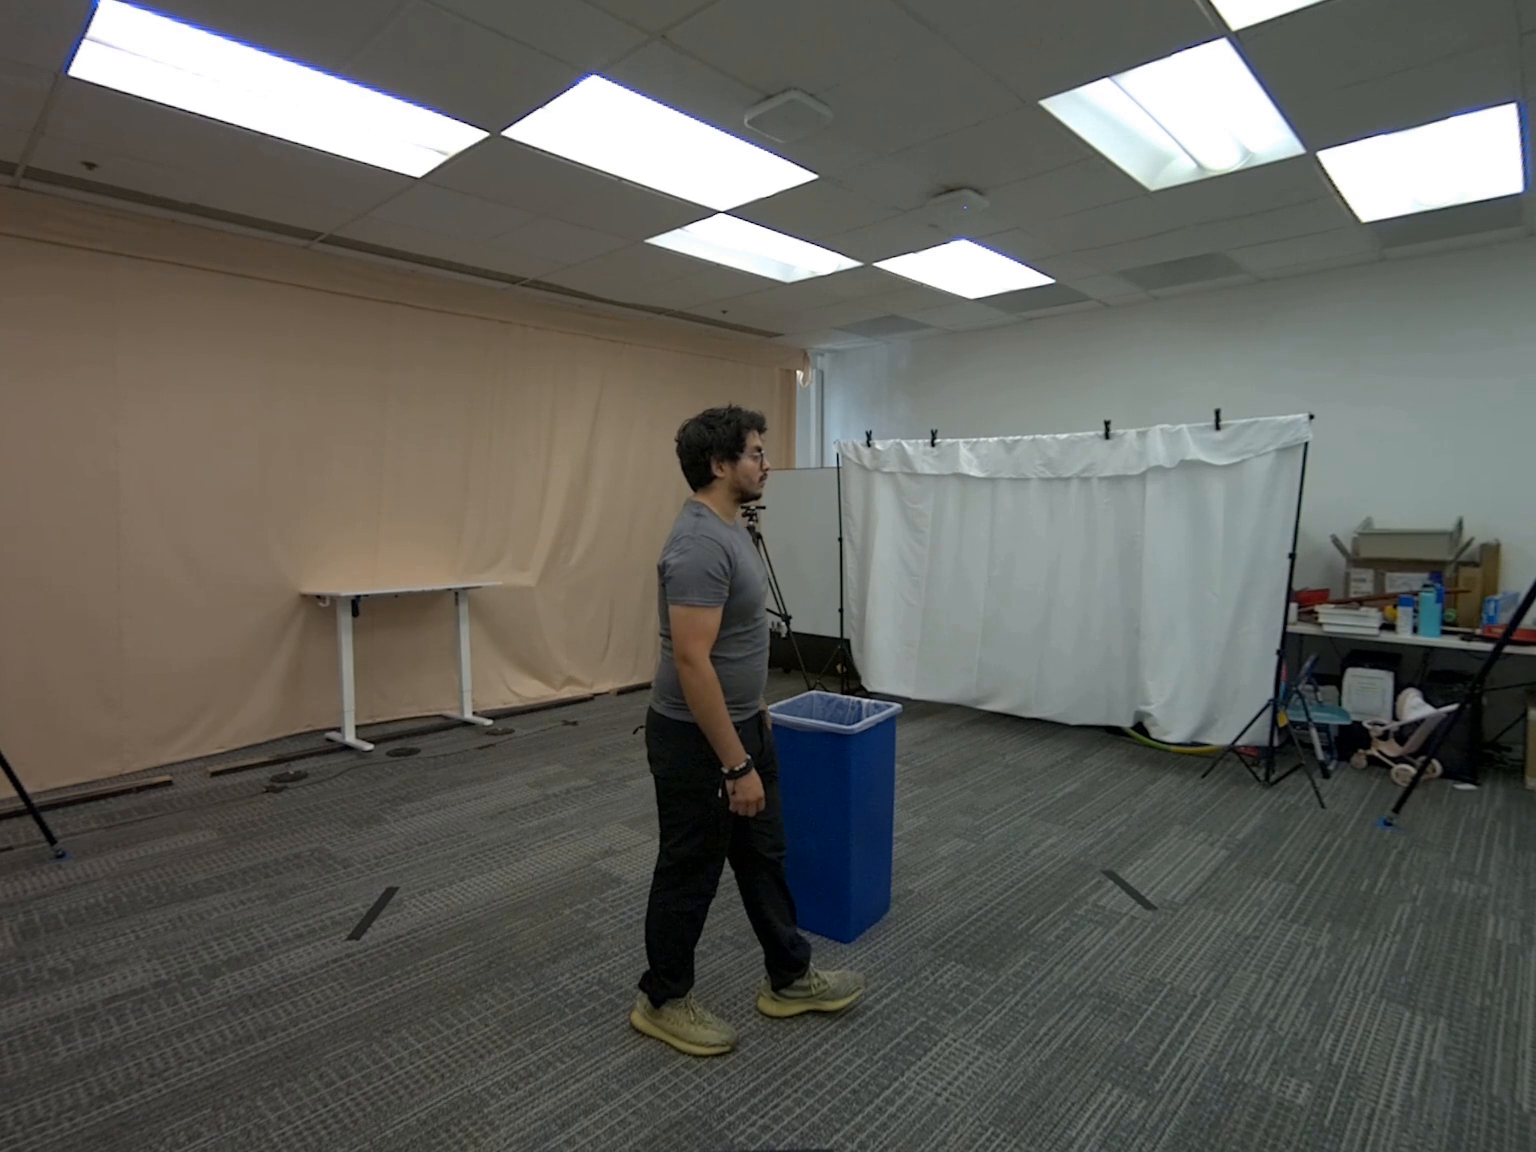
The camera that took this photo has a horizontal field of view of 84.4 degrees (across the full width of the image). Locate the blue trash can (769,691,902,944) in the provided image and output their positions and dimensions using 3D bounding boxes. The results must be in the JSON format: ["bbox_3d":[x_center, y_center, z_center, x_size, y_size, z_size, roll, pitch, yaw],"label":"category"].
[{"bbox_3d":[0.216,0.797,2.846,0.390,0.712,0.363,2,4,37],"label":"blue trash can"}]
